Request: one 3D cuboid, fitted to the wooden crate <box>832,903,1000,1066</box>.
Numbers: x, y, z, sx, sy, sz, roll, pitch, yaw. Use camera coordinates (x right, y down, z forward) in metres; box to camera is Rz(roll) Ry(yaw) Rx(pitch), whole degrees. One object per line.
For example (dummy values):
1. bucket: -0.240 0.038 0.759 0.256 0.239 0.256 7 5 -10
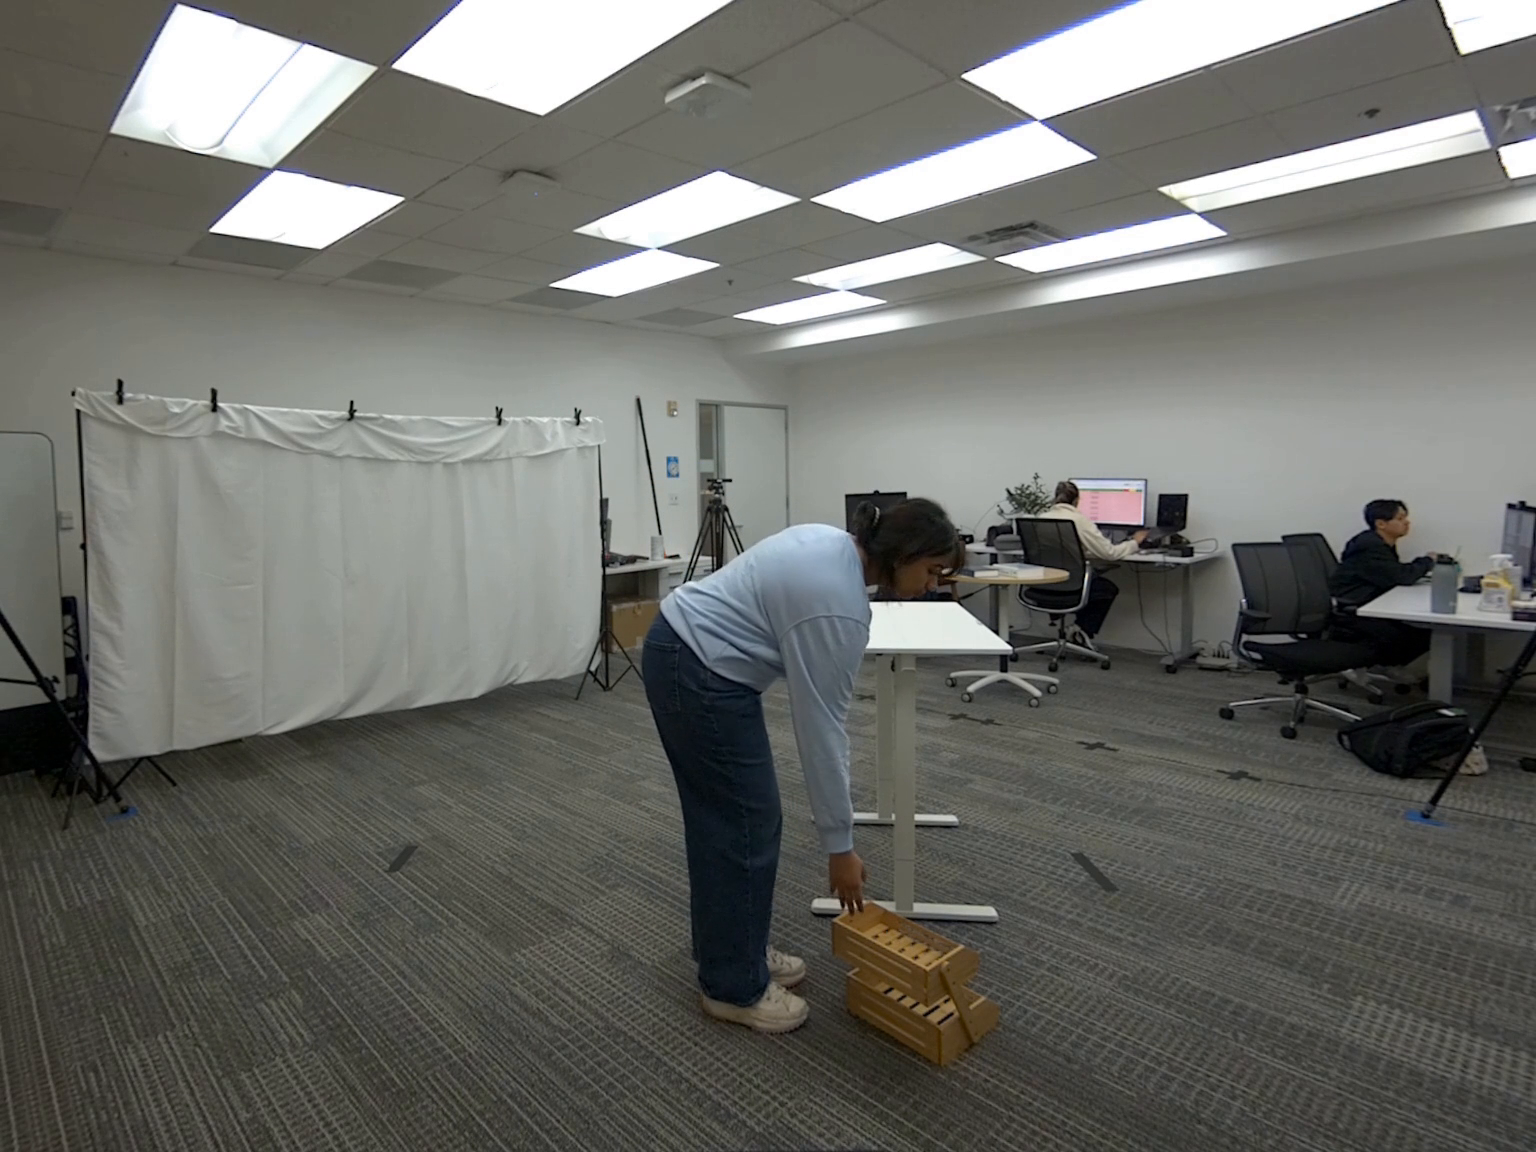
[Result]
1. wooden crate: 0.381 1.000 2.198 0.294 0.272 0.334 -7 7 -41
